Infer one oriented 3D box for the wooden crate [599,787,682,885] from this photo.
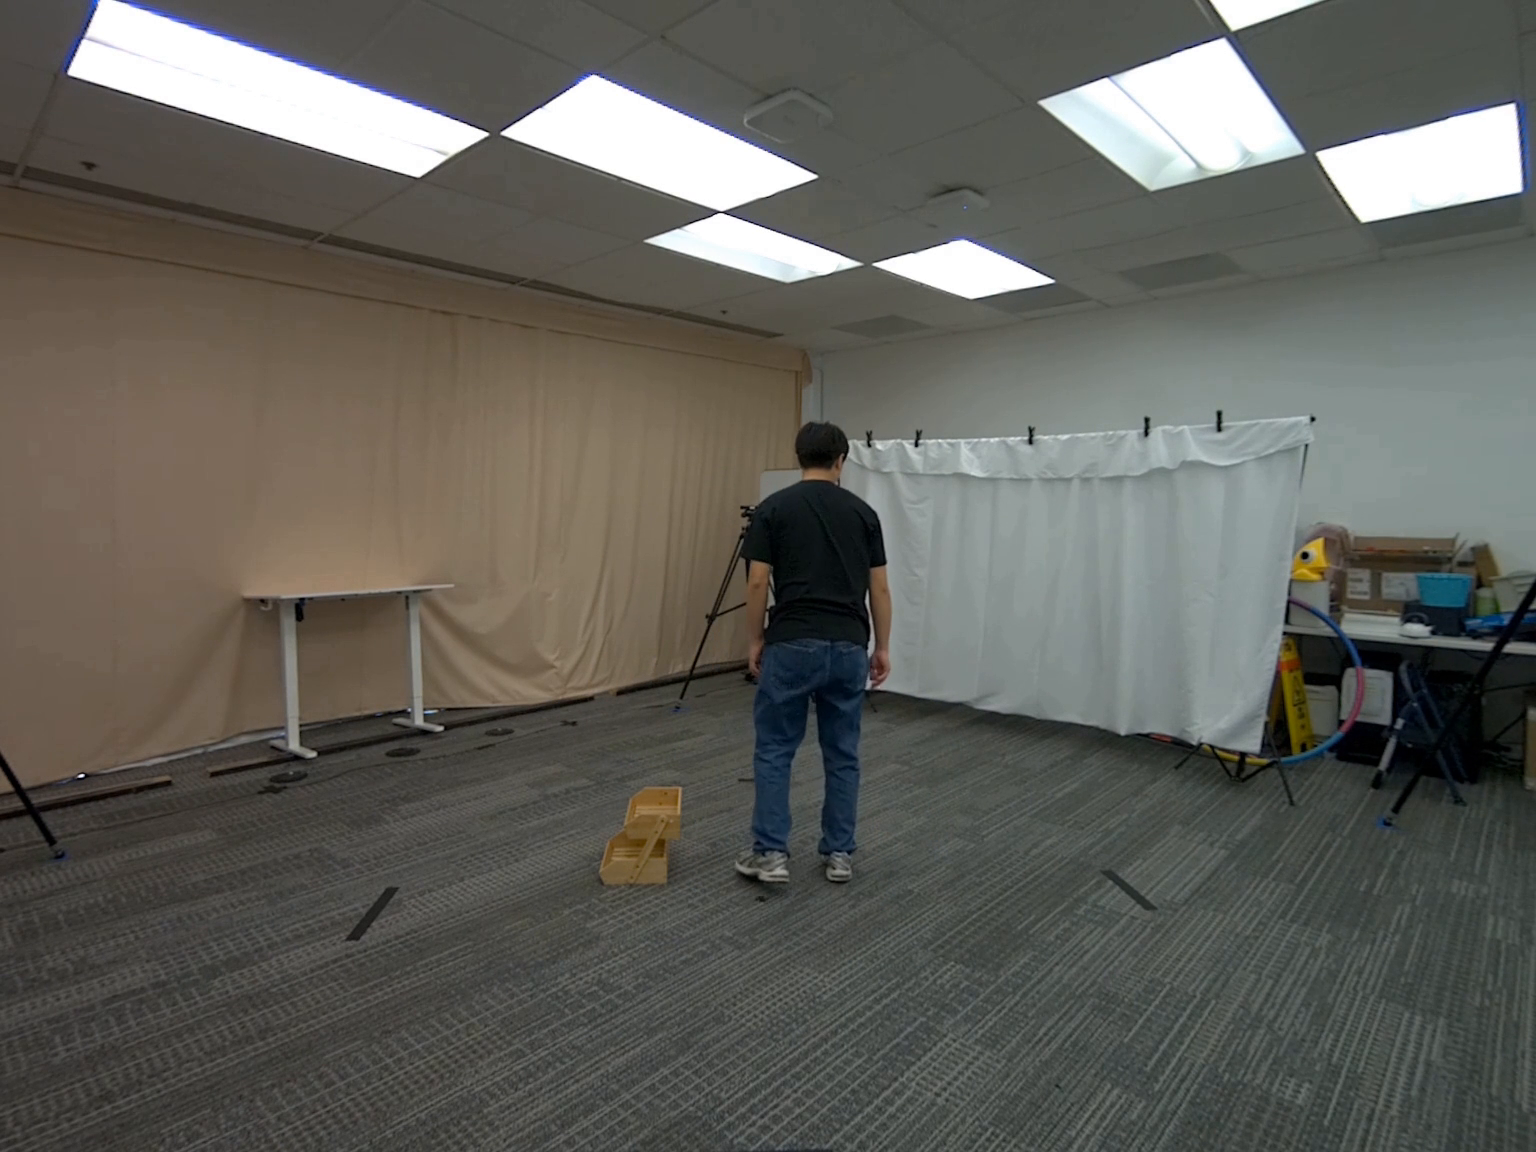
[{"bbox_3d":[-0.488,0.993,3.255,0.301,0.273,0.326,-1,4,-3],"label":"wooden crate"}]
